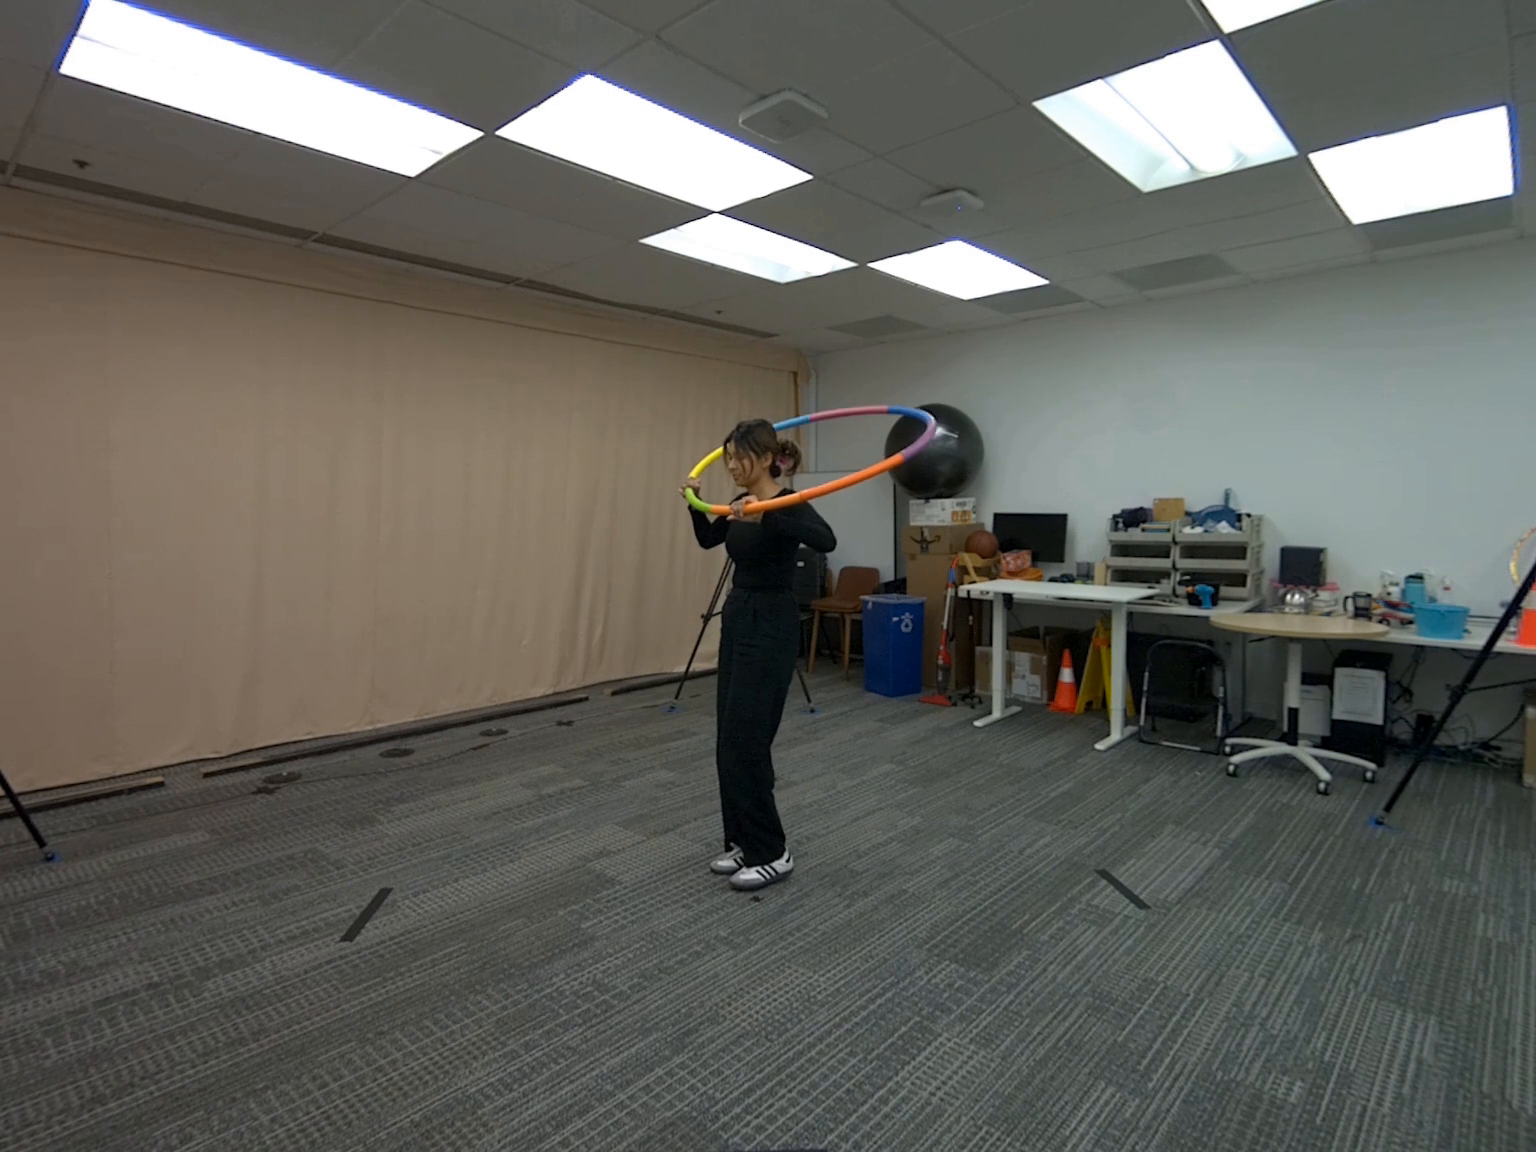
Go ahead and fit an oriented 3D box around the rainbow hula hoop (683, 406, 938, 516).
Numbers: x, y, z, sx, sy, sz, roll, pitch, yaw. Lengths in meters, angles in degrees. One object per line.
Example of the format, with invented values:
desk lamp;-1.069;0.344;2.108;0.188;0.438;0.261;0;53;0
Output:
rainbow hula hoop;0.147;-0.459;3.203;0.984;0.035;0.993;-16;24;5
